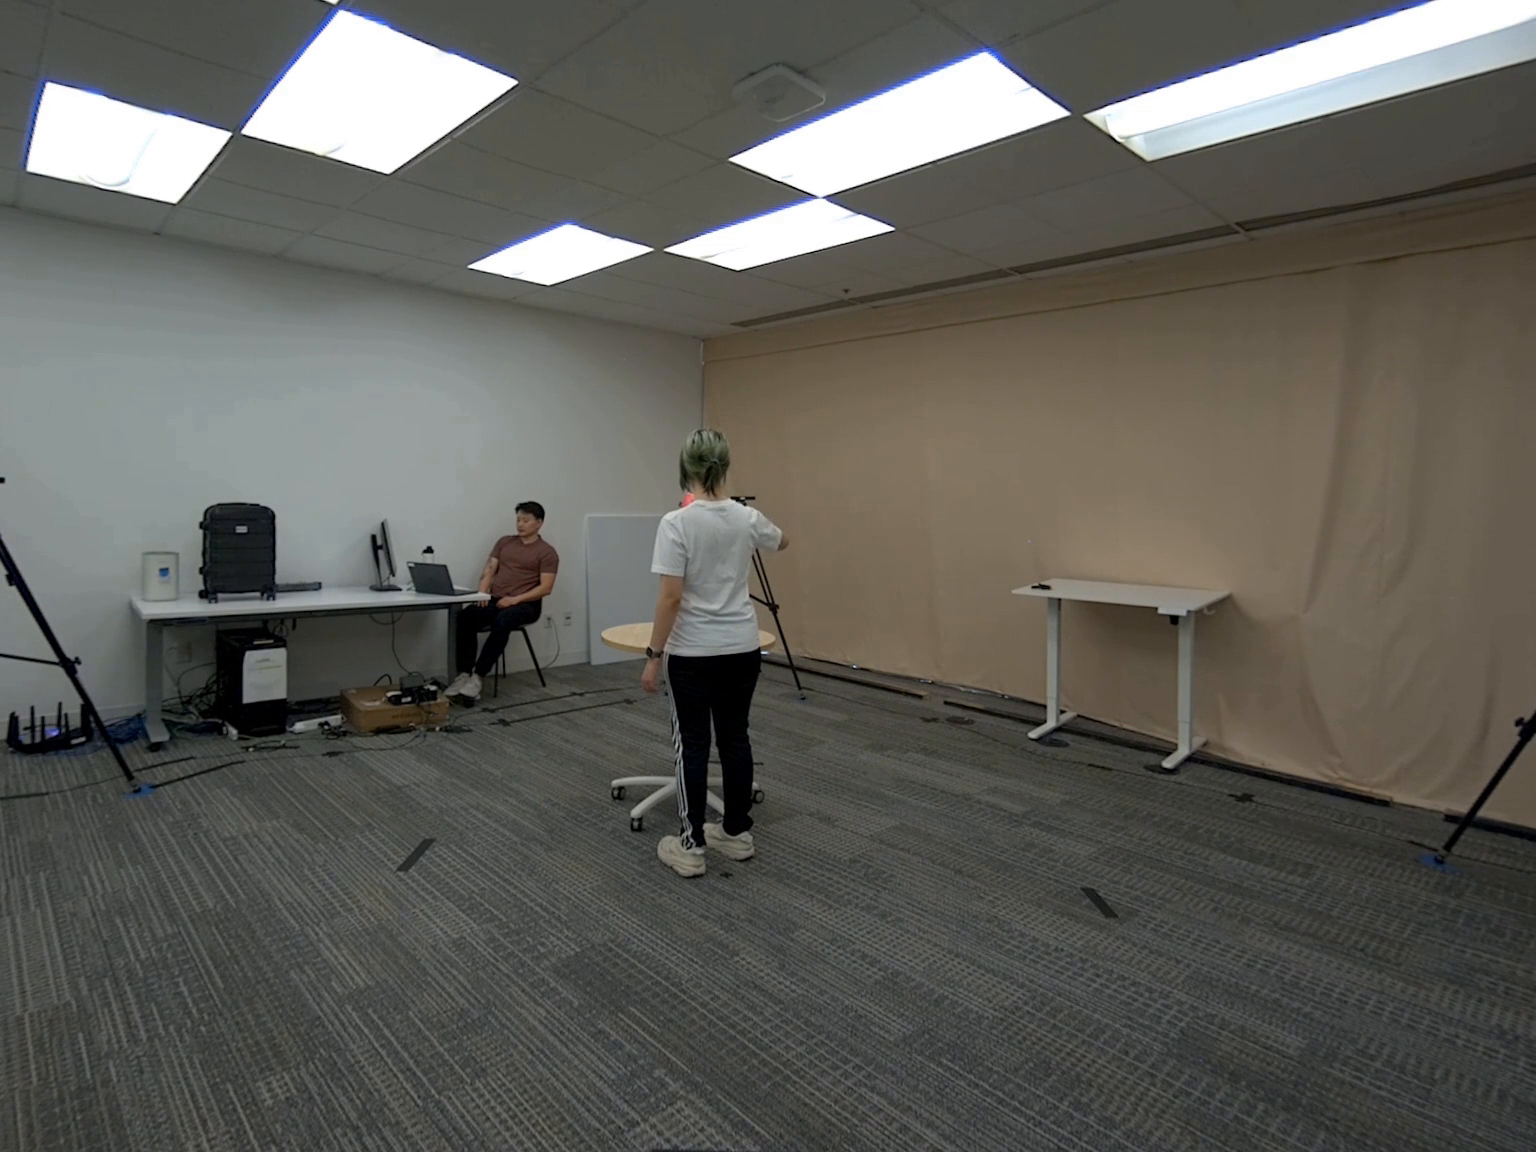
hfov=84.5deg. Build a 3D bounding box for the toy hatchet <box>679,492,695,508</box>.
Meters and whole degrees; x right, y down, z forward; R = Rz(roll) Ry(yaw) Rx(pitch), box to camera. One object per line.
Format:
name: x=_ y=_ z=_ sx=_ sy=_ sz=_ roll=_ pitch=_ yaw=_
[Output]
toy hatchet: x=-0.242 y=-0.296 z=3.552 sx=0.266 sy=0.134 sz=0.029 roll=-2 pitch=-31 yaw=-18
